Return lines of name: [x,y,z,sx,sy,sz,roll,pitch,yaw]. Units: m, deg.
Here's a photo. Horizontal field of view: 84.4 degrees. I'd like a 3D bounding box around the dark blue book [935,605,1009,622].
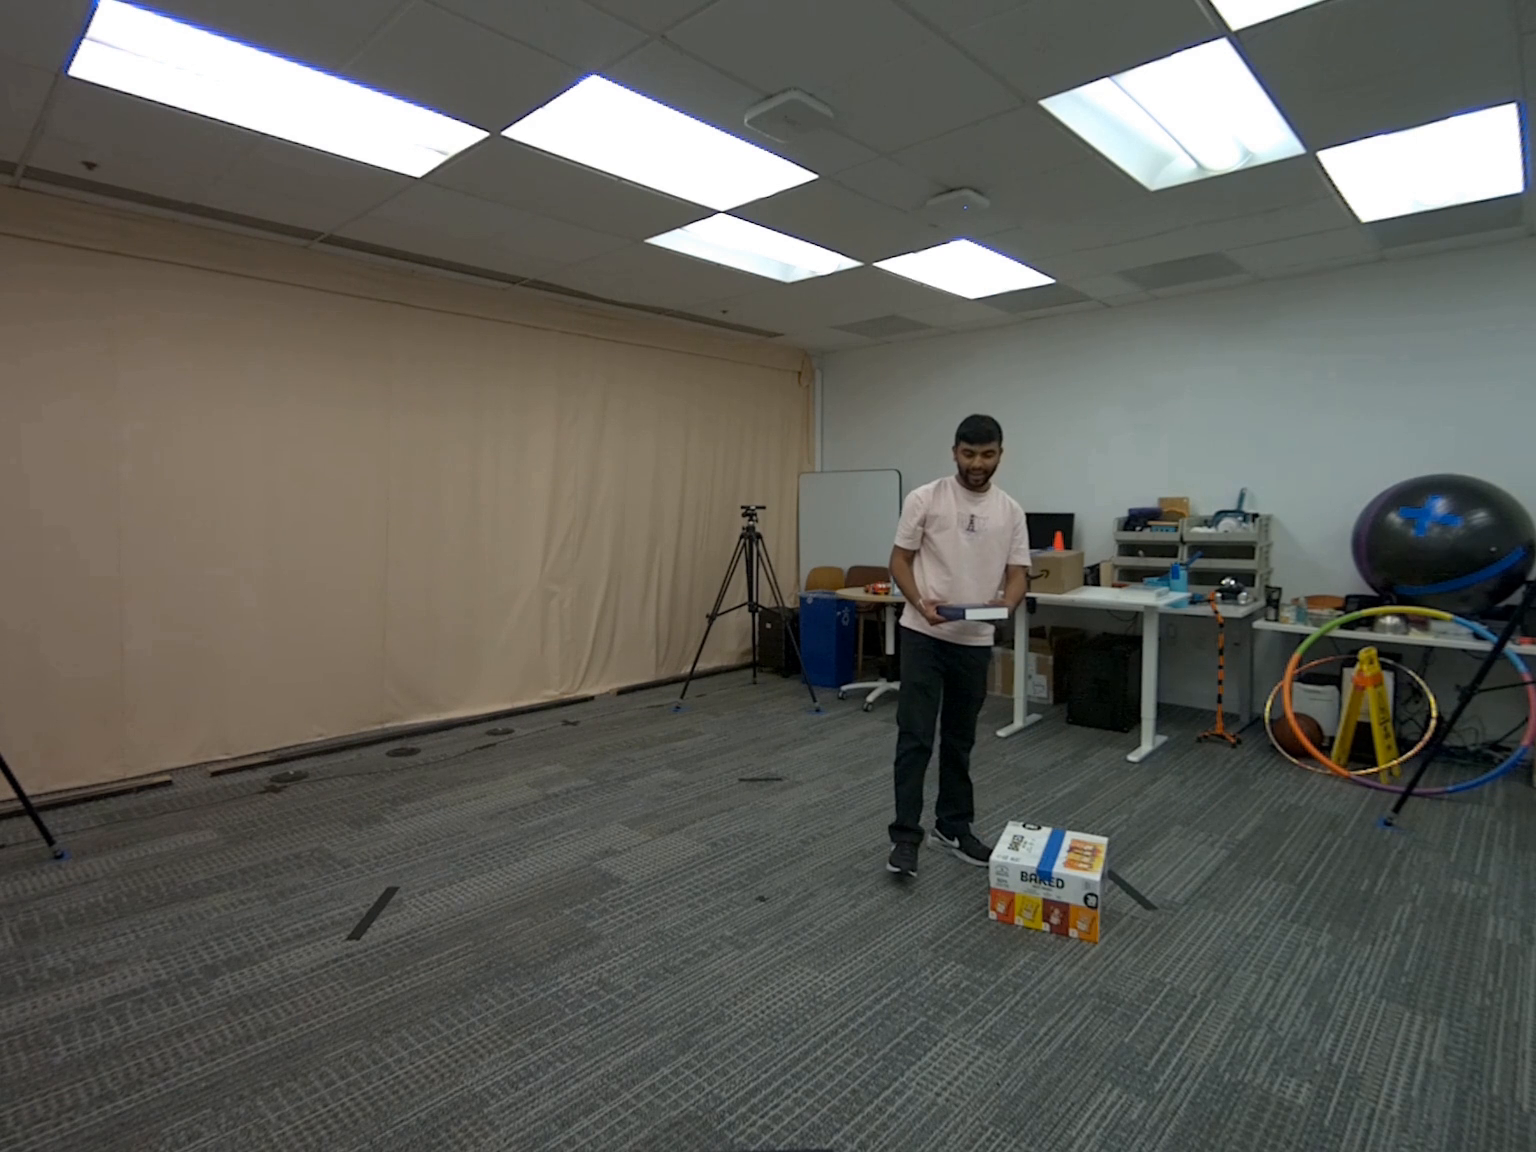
dark blue book: [0.712,0.130,2.993,0.162,0.045,0.247,0,0,-9]
